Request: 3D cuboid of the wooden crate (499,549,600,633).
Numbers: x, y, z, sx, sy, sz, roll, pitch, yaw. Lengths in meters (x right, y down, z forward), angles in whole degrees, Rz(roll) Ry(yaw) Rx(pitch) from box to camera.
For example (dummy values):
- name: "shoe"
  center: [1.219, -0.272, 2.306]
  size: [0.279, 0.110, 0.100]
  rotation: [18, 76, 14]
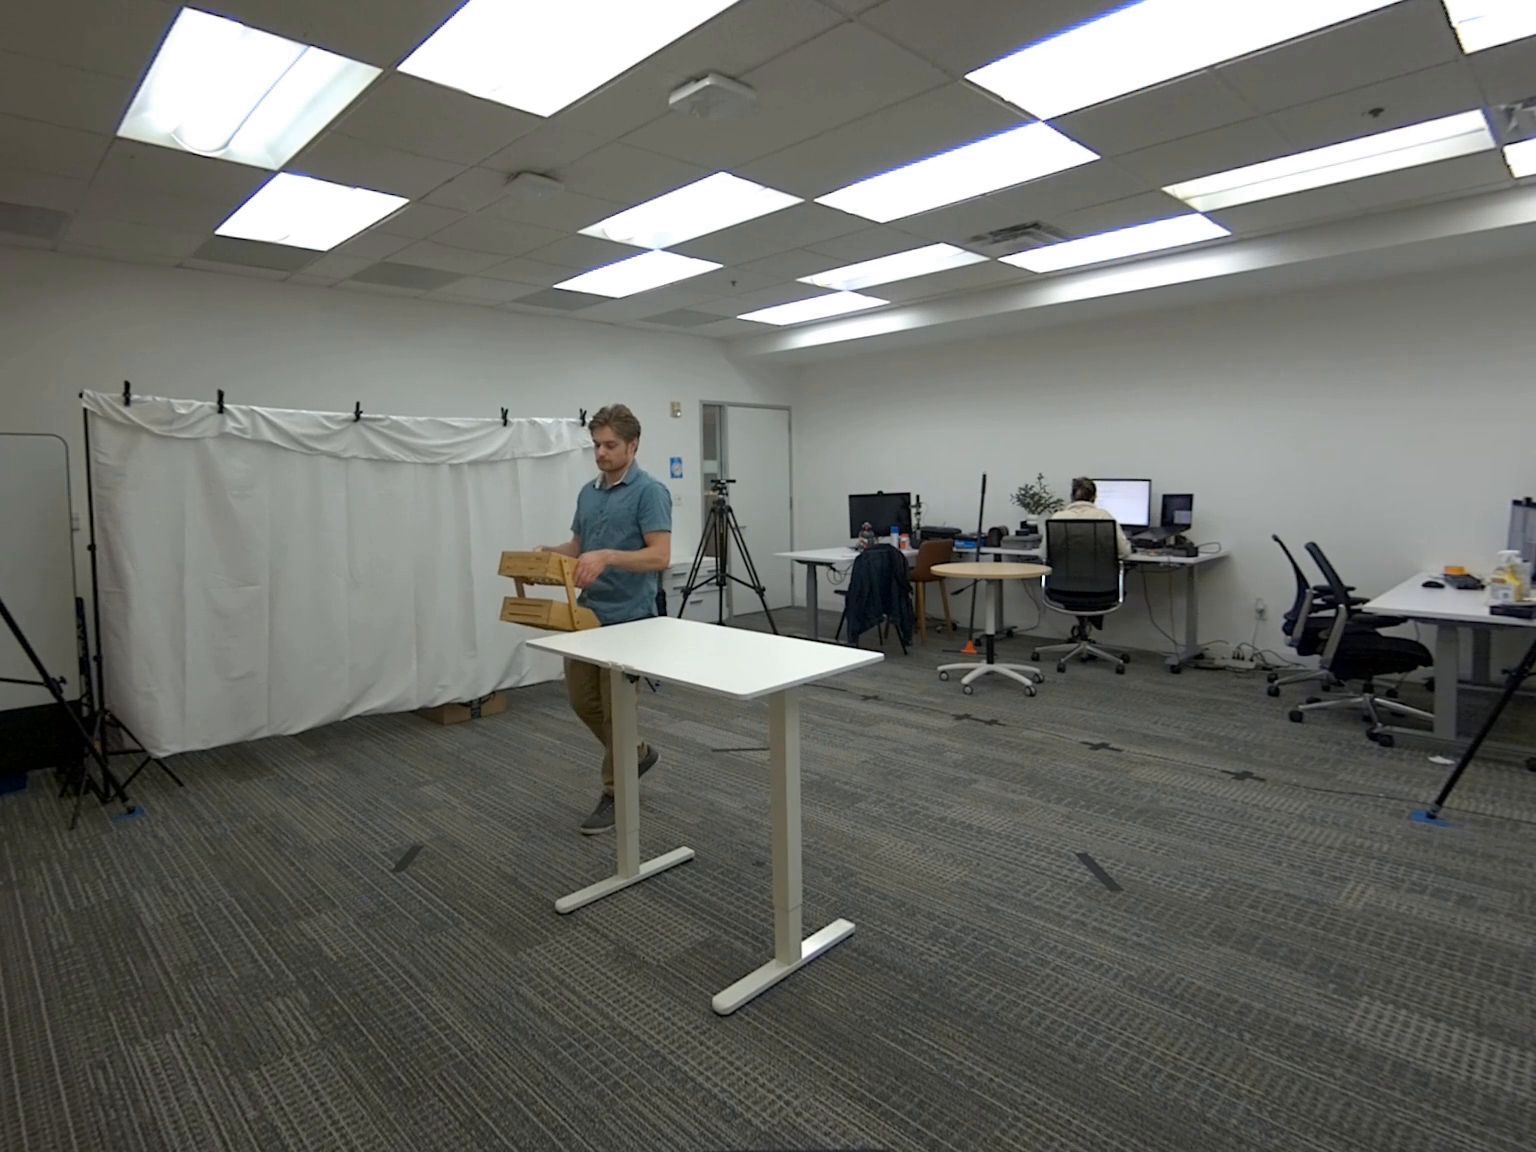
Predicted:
- name: "wooden crate"
  center: [-0.832, 0.061, 3.284]
  size: [0.333, 0.275, 0.291]
  rotation: [0, -13, 38]
